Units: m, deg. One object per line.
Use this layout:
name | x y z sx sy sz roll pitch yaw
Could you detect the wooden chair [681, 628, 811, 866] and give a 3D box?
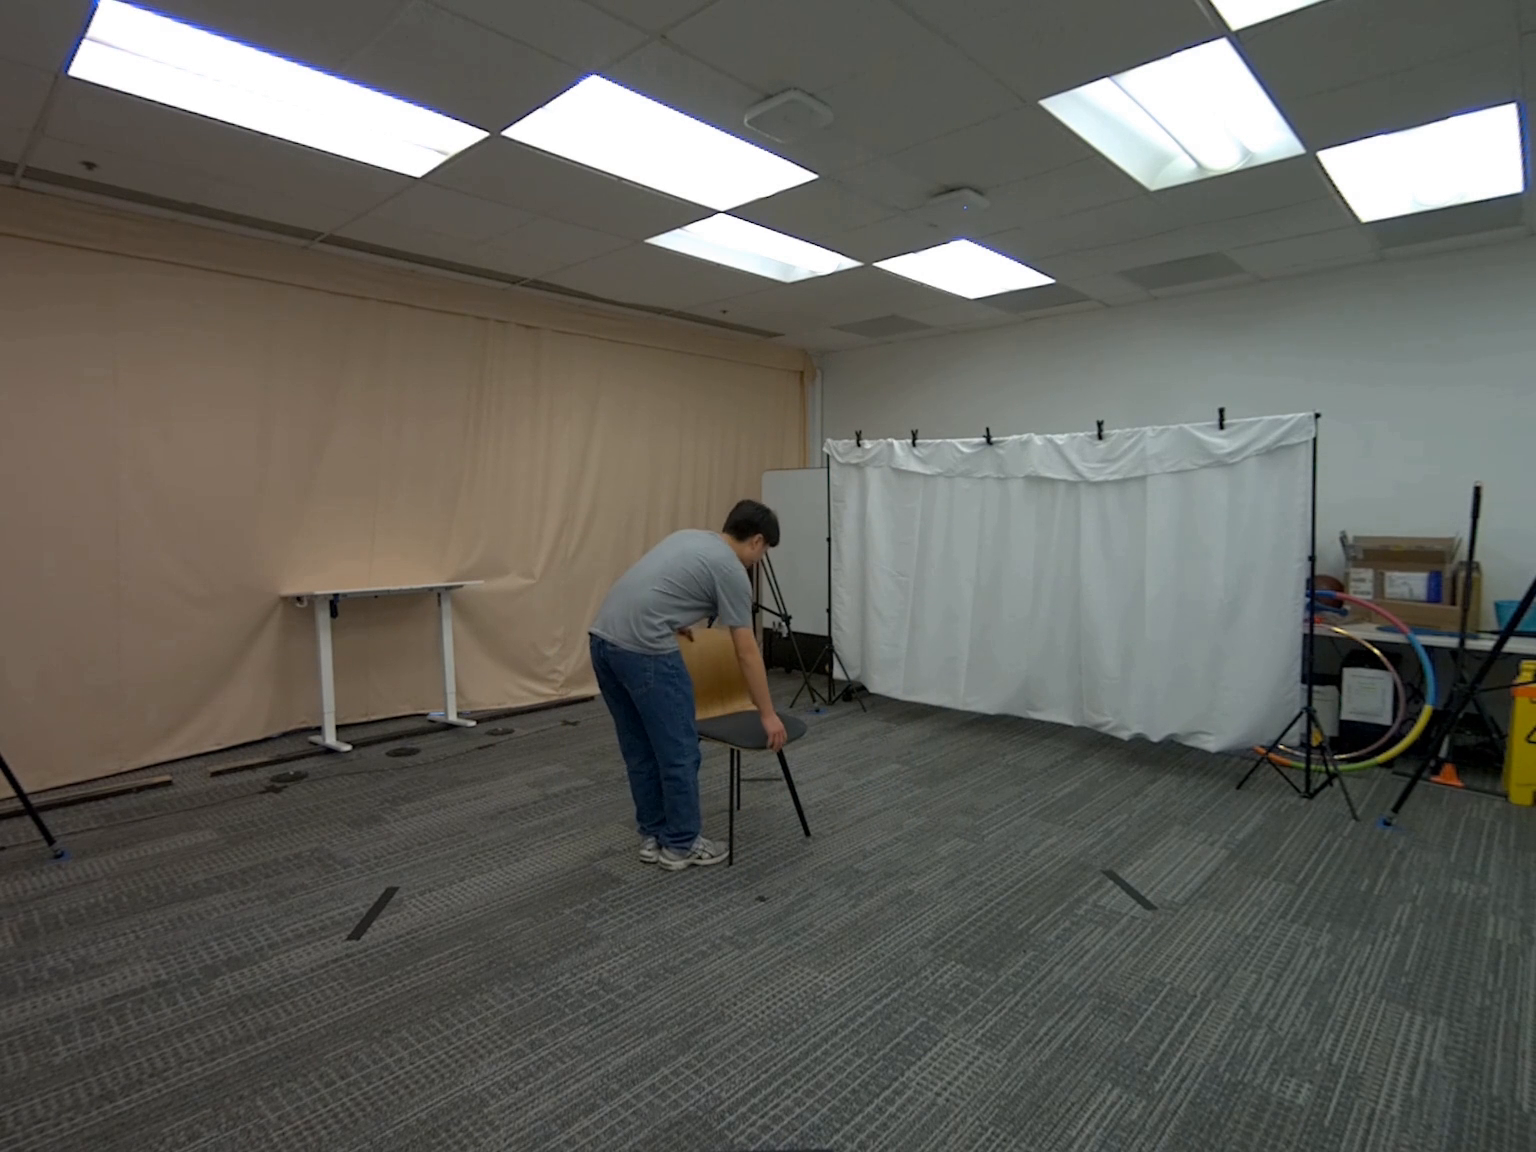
wooden chair | -0.131 0.671 3.540 0.463 0.877 0.539 -3 0 -42
